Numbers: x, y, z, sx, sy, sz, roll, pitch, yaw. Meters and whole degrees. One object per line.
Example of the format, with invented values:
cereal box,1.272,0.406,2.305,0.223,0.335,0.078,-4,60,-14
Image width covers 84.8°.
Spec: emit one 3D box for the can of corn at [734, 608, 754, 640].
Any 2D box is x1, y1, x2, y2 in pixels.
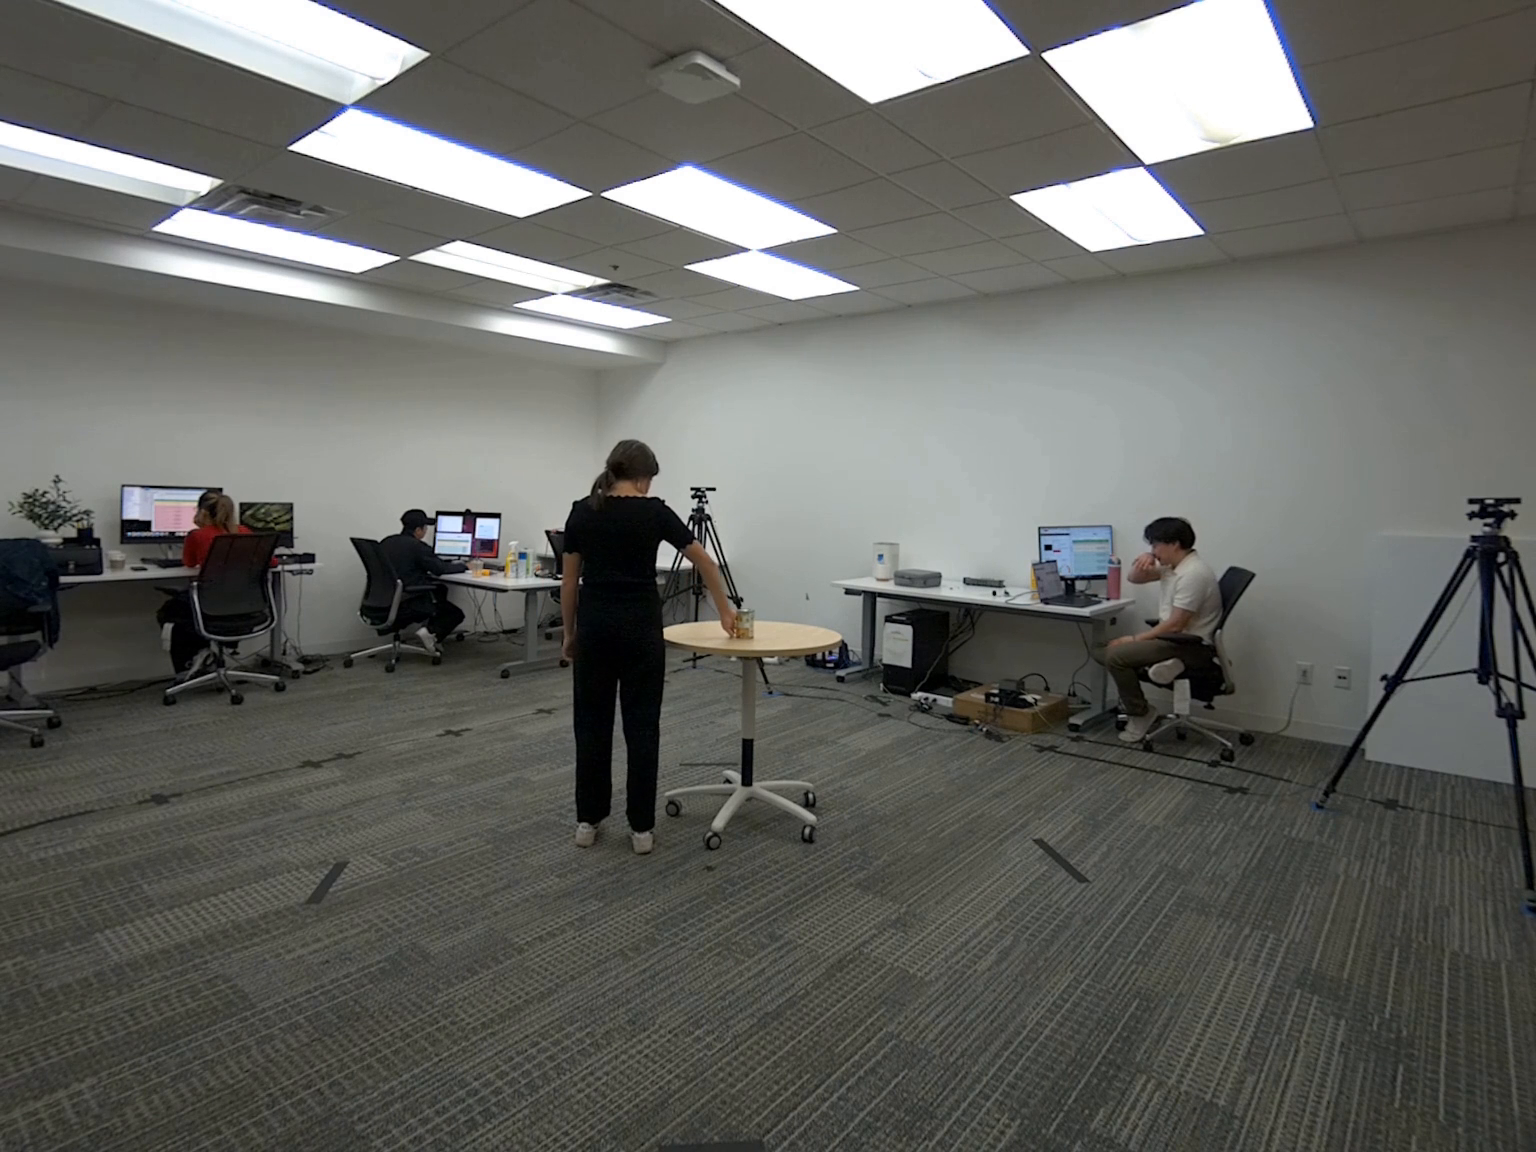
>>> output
can of corn,-0.107,0.194,3.456,0.074,0.111,0.074,-1,4,-2
